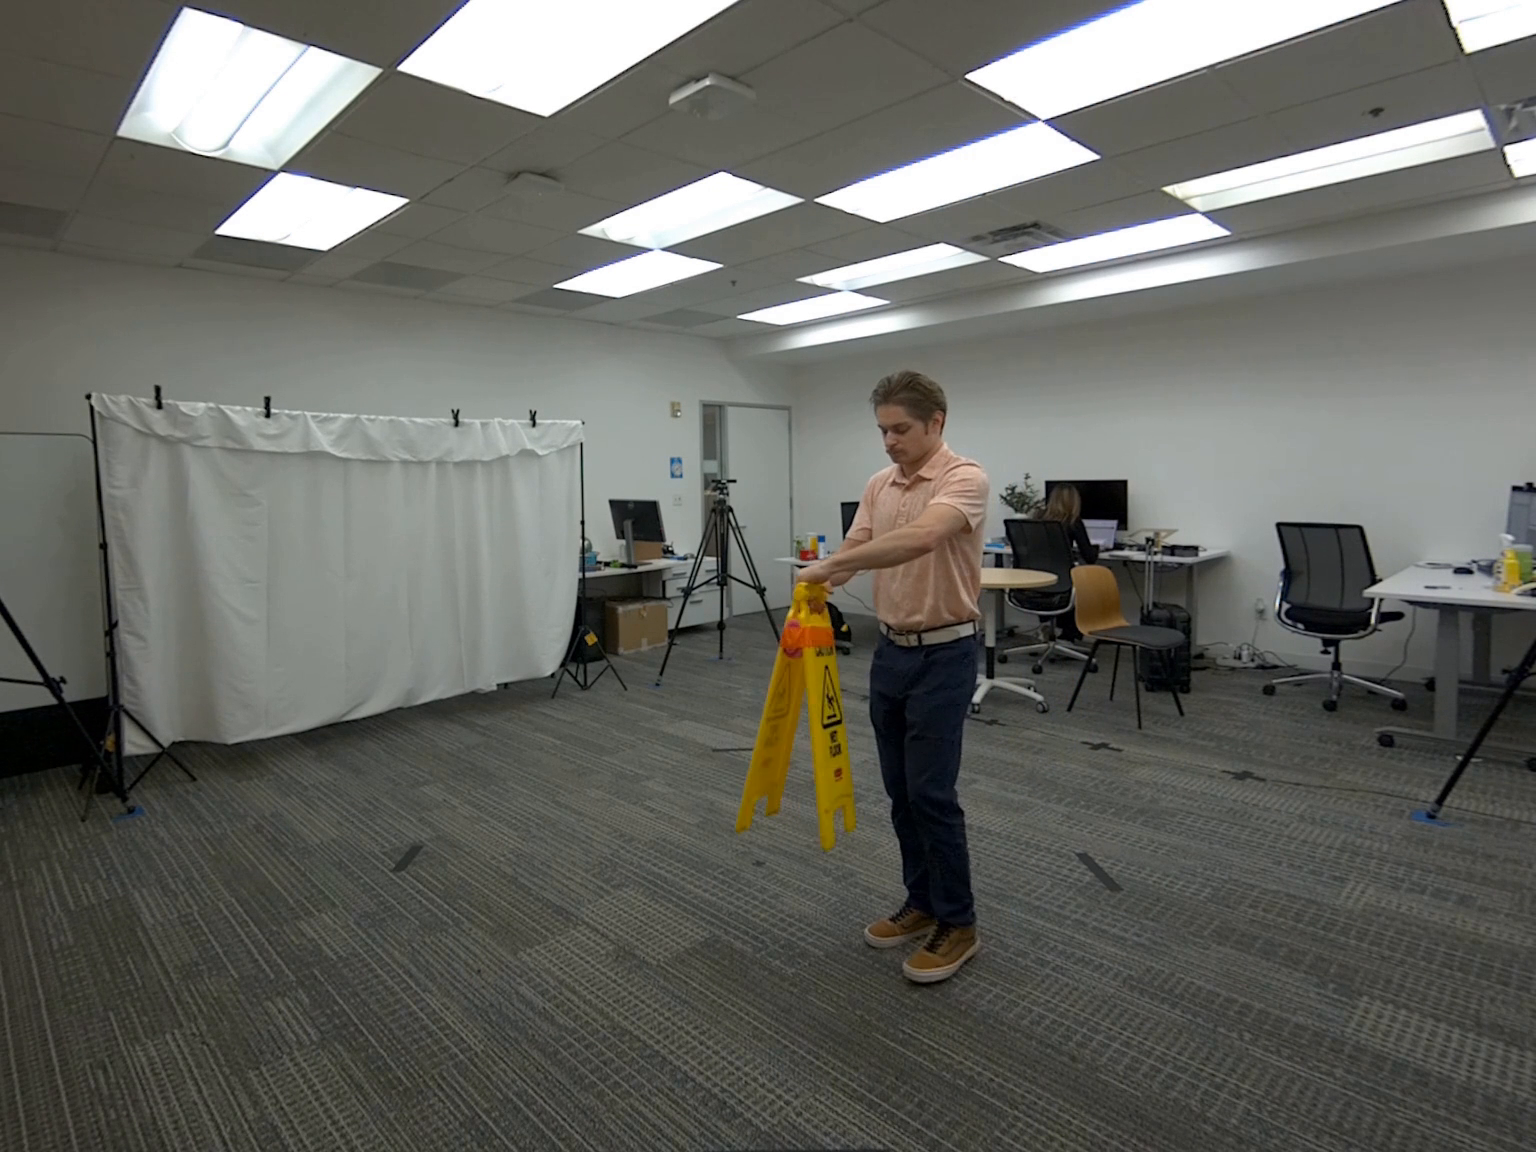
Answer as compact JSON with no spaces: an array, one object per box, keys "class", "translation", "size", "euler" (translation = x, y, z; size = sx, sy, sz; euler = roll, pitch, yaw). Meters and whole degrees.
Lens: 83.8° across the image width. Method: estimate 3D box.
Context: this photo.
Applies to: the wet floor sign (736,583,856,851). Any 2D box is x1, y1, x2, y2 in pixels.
[{"class":"wet floor sign","translation":[0.109,0.349,2.272],"size":[0.296,0.648,0.275],"euler":[2,-3,24]}]
